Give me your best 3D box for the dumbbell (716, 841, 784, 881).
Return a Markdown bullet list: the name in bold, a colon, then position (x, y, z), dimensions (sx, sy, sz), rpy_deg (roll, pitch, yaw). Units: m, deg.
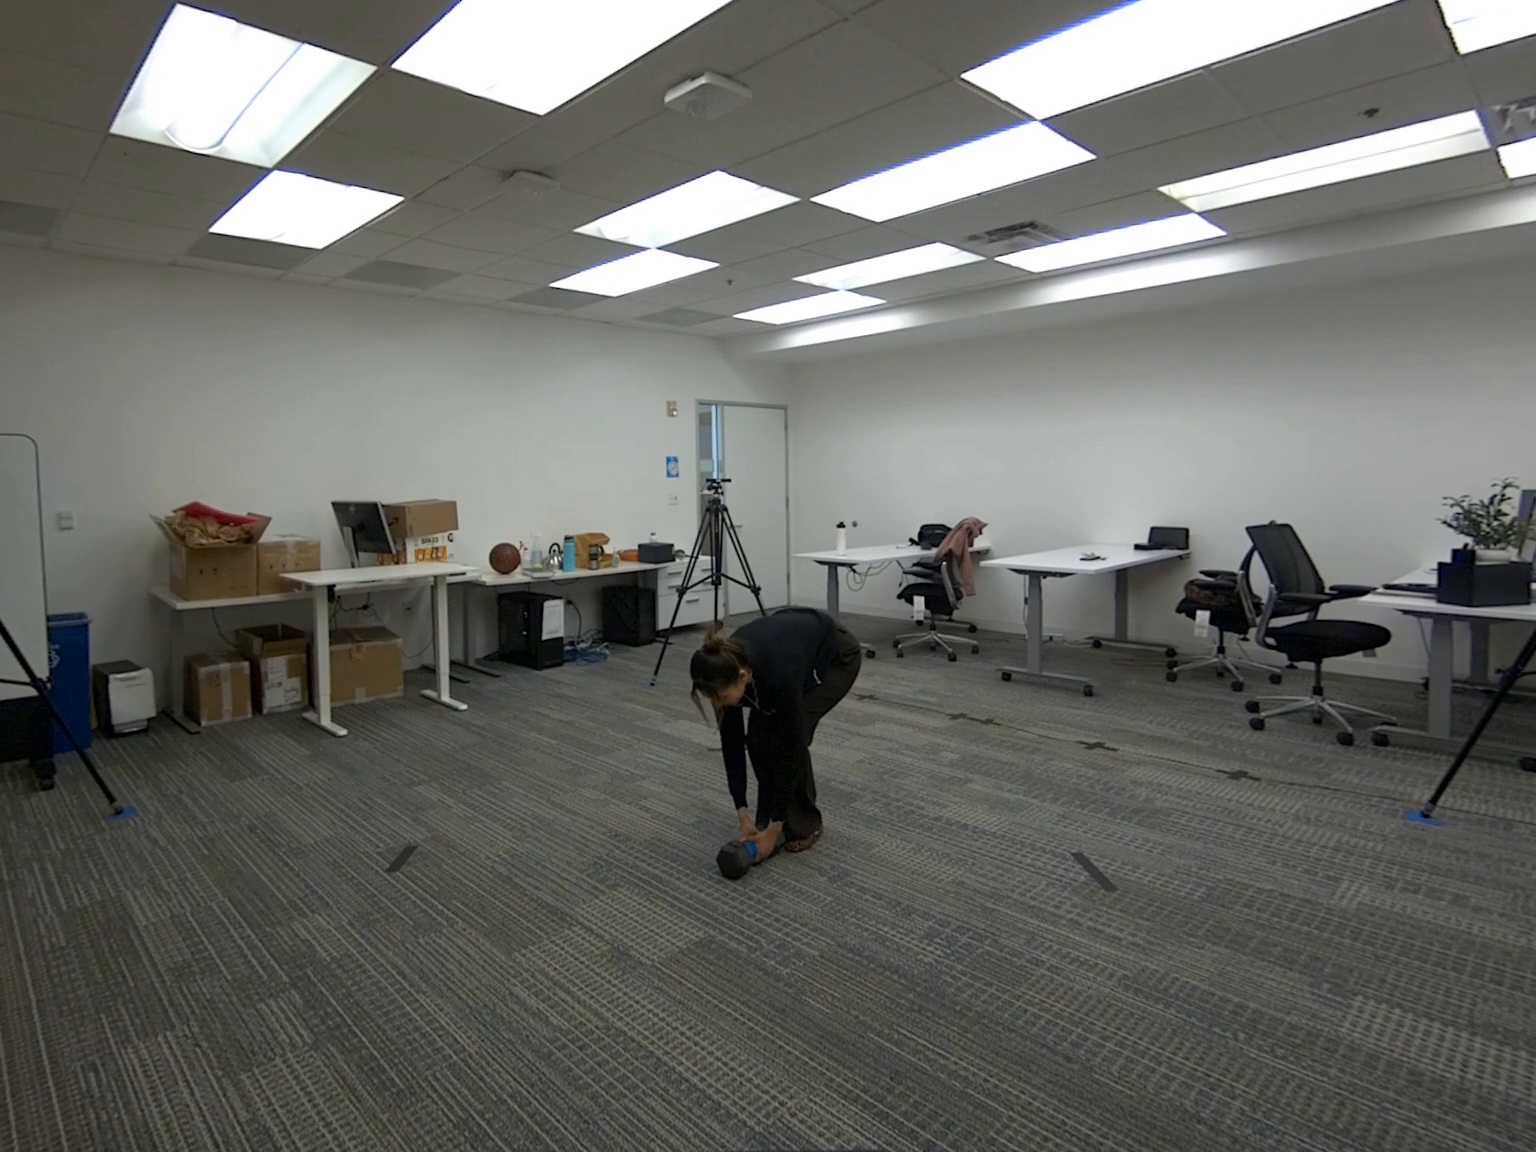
- **dumbbell**: position (-0.059, 0.996, 3.097), dimensions (0.112, 0.122, 0.286), rpy_deg (35, 23, 27)
